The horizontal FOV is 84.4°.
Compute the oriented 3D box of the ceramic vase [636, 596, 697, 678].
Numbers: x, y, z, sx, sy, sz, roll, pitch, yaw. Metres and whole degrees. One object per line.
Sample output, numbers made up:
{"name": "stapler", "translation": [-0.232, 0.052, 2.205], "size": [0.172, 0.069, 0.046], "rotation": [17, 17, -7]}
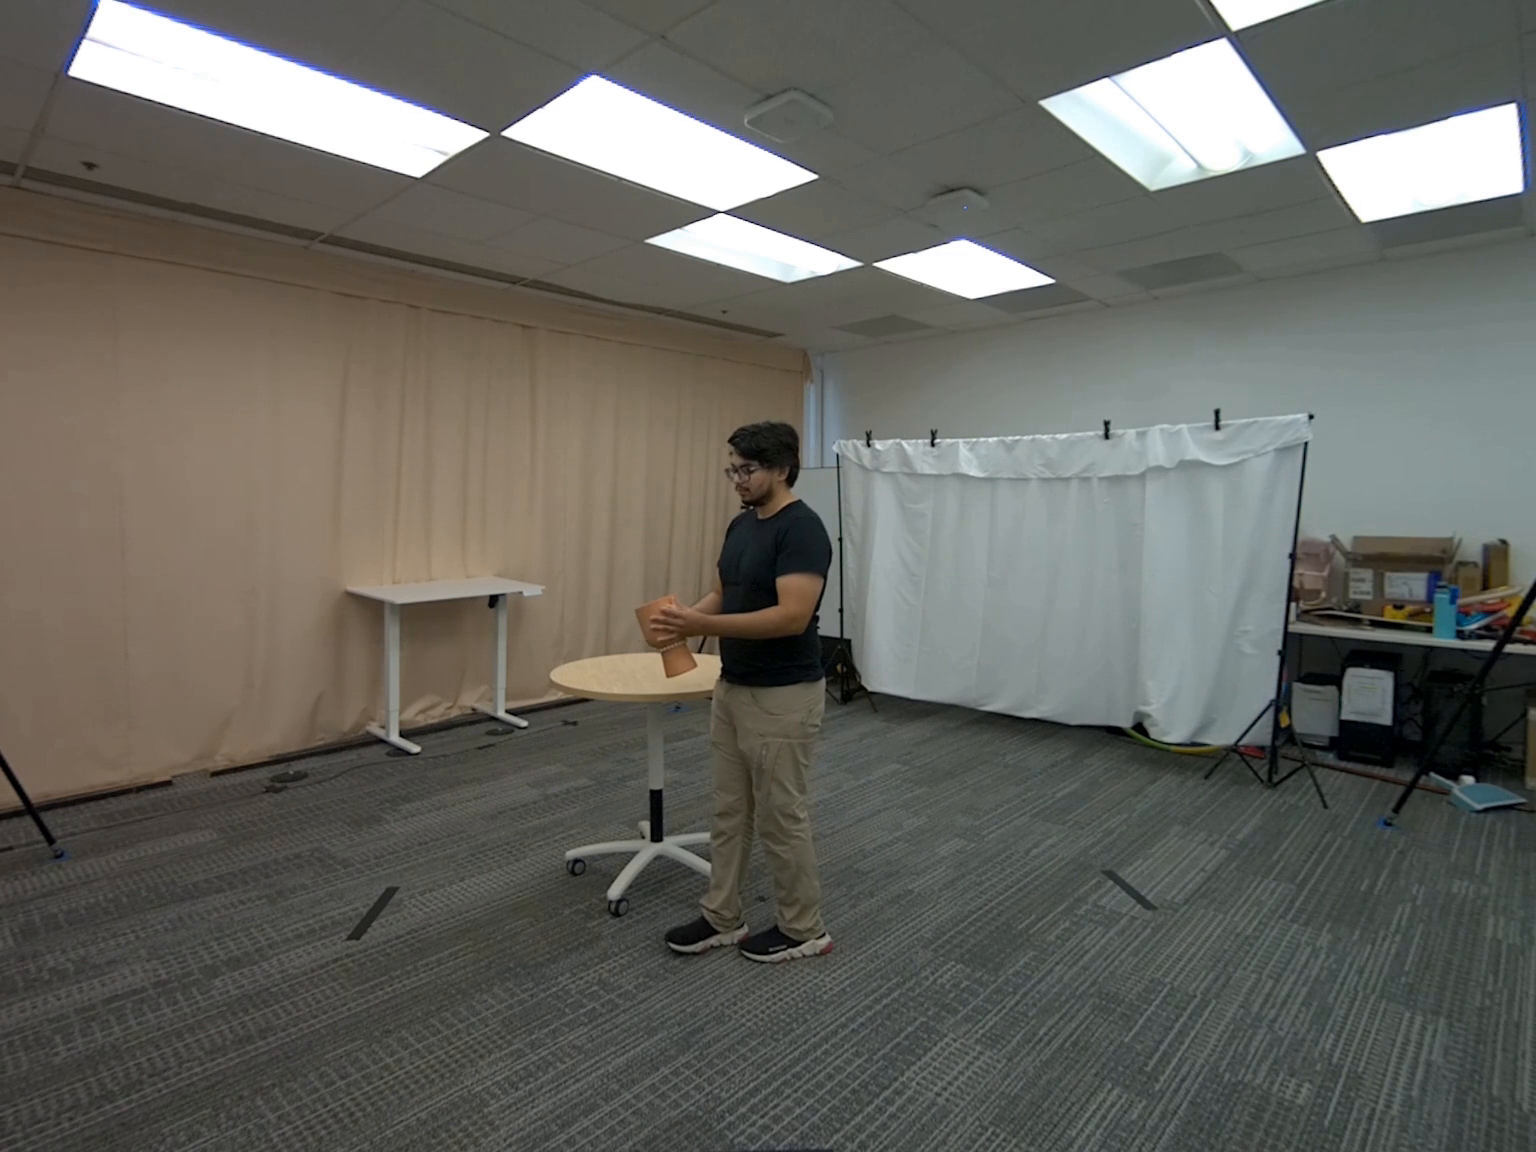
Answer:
{"name": "ceramic vase", "translation": [-0.284, 0.177, 2.436], "size": [0.134, 0.220, 0.159], "rotation": [-21, -3, -7]}
